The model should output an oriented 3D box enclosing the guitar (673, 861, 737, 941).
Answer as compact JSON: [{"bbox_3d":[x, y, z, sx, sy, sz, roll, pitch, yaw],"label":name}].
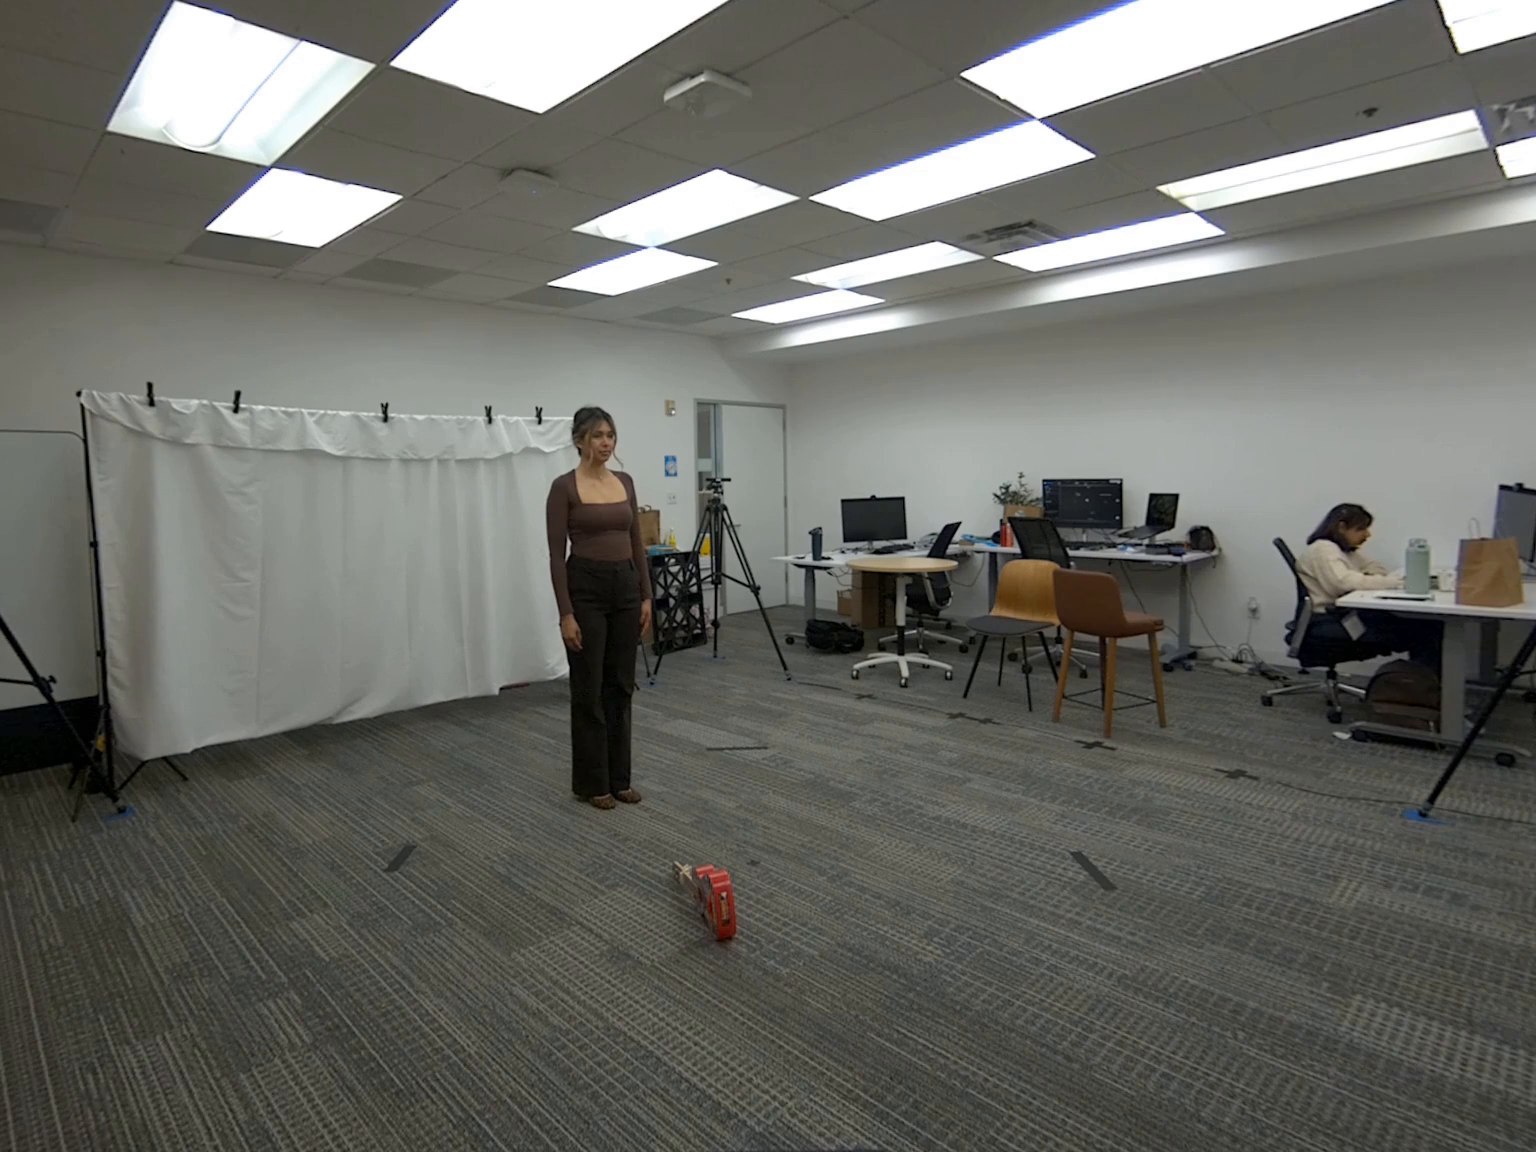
[{"bbox_3d":[-0.218,0.988,2.785,0.069,0.192,0.509,-6,7,-20],"label":"guitar"}]
